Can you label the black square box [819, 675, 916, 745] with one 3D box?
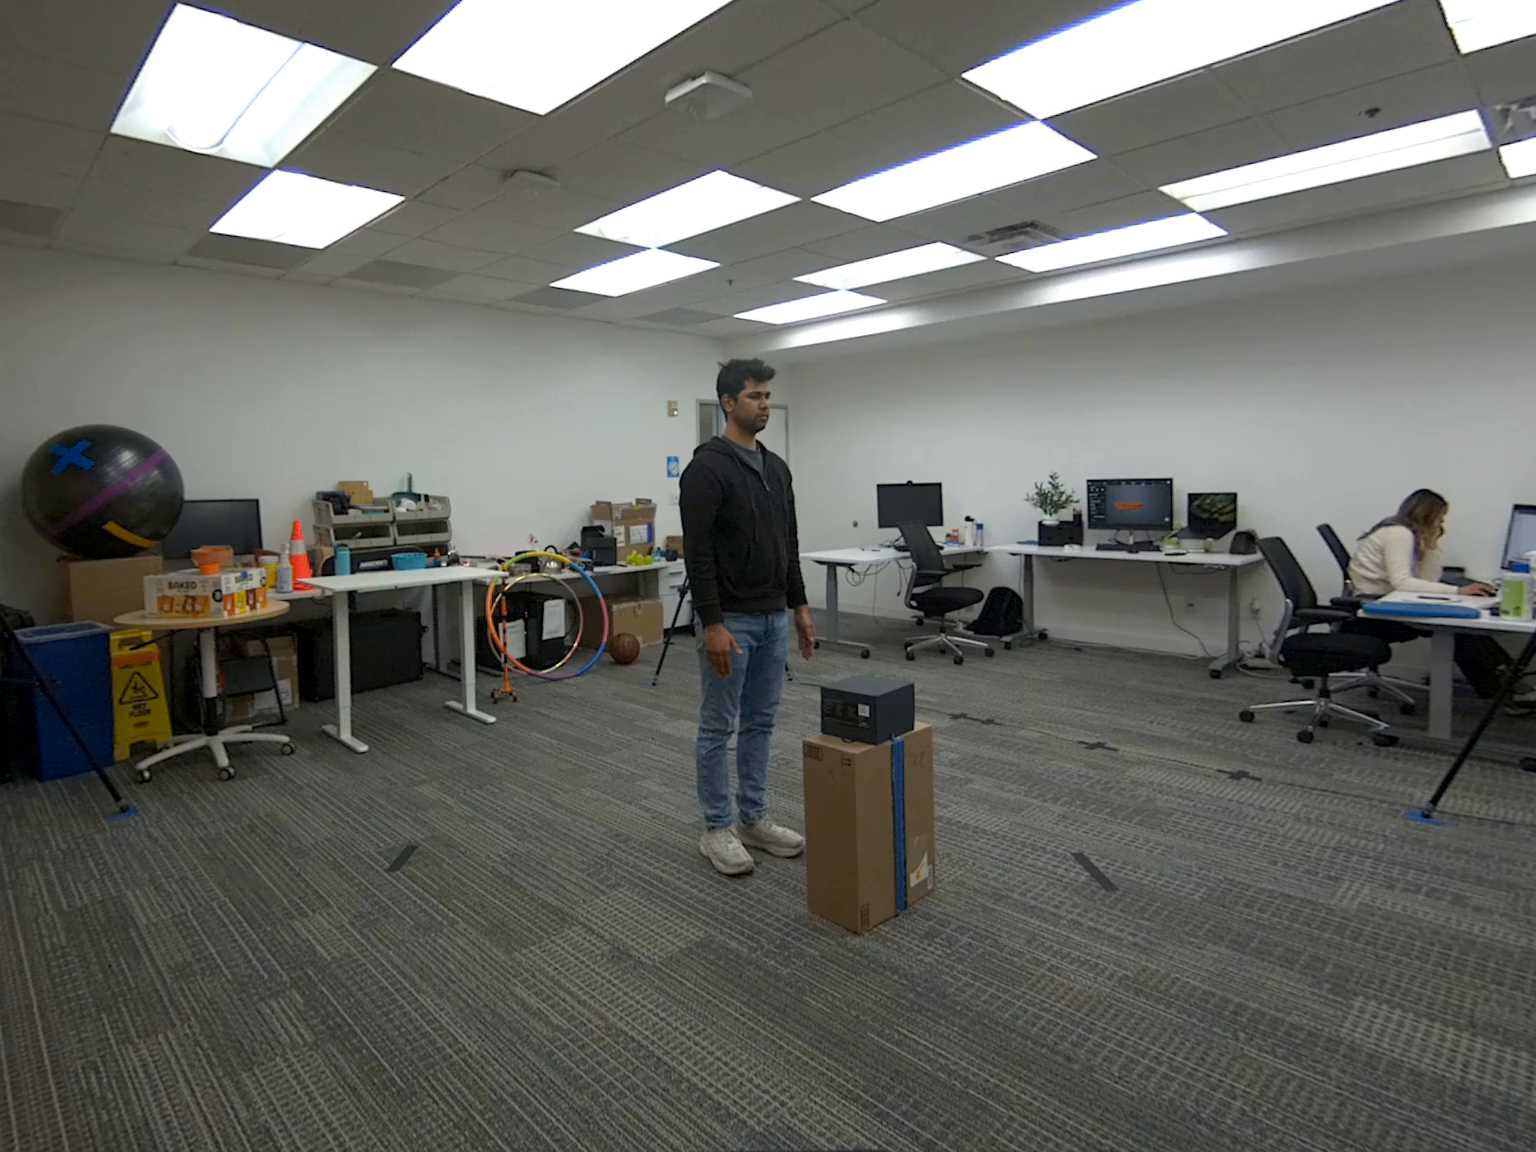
[{"bbox_3d":[0.325,0.426,2.786,0.223,0.155,0.222,3,7,42],"label":"black square box"}]
